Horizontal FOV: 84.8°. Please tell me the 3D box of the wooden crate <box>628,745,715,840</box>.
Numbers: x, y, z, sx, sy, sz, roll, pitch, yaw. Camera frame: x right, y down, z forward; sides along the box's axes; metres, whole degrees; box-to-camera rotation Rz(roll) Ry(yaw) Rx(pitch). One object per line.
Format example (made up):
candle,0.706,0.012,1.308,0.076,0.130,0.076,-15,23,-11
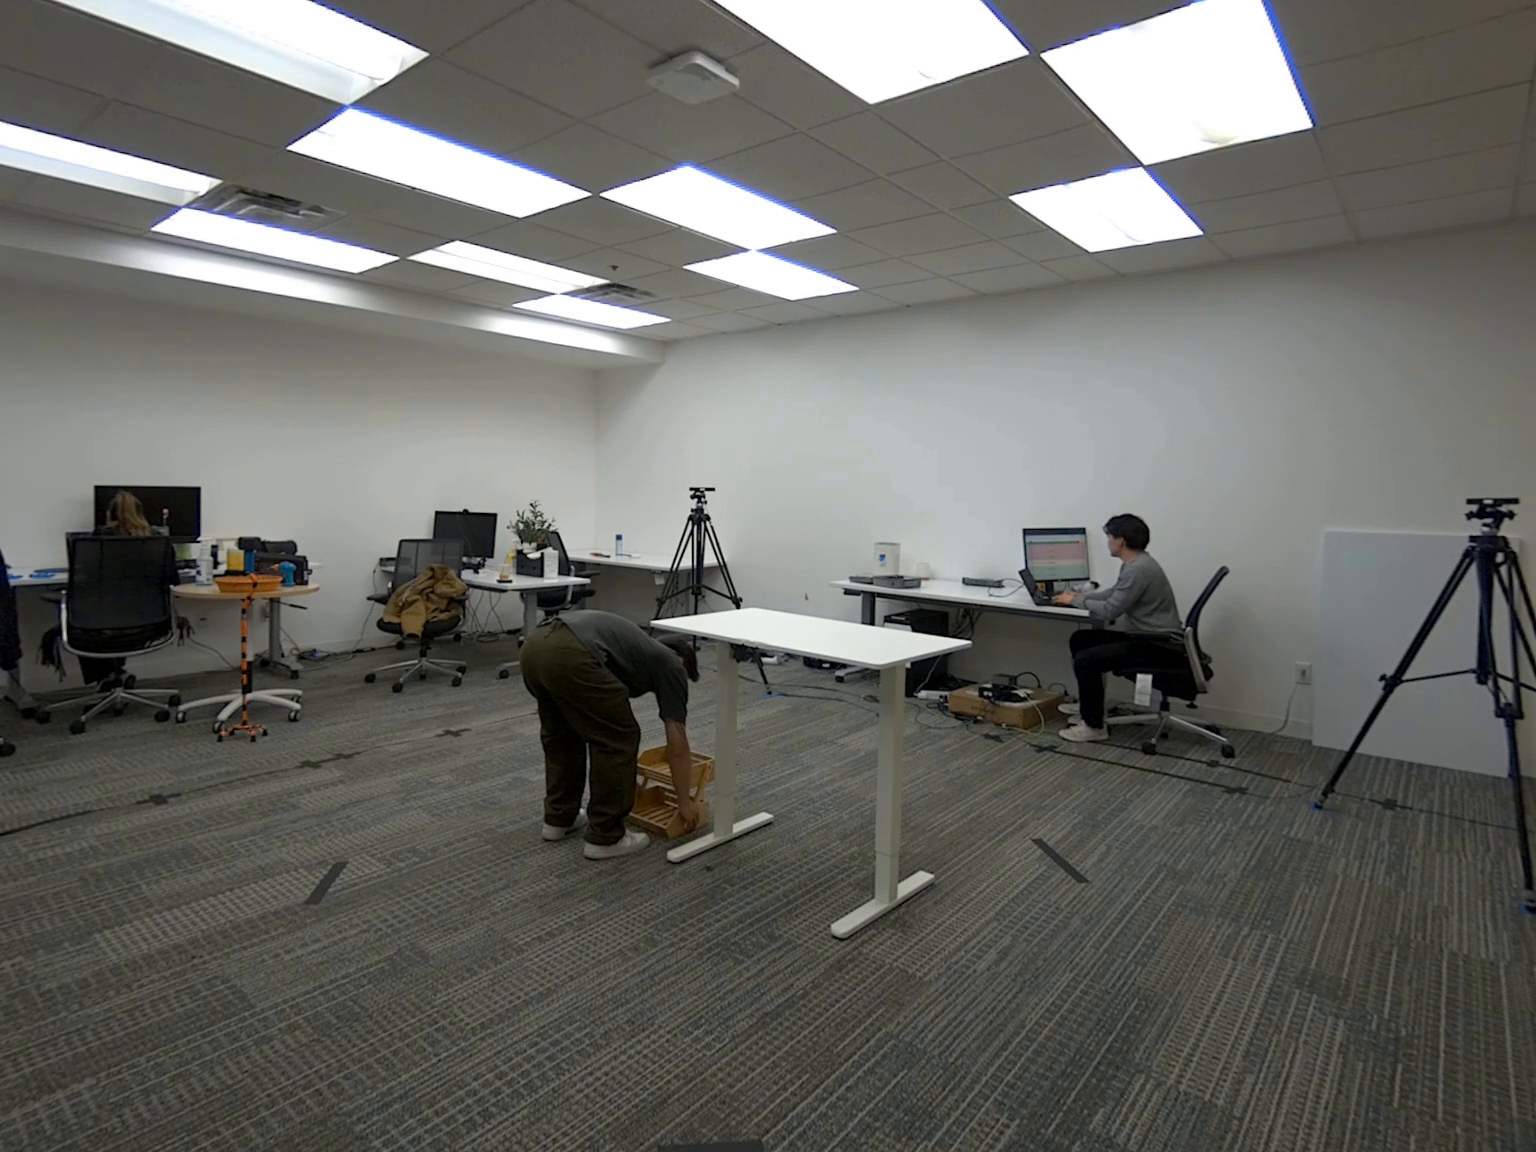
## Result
wooden crate,-0.439,0.889,3.556,0.335,0.272,0.293,5,6,39
